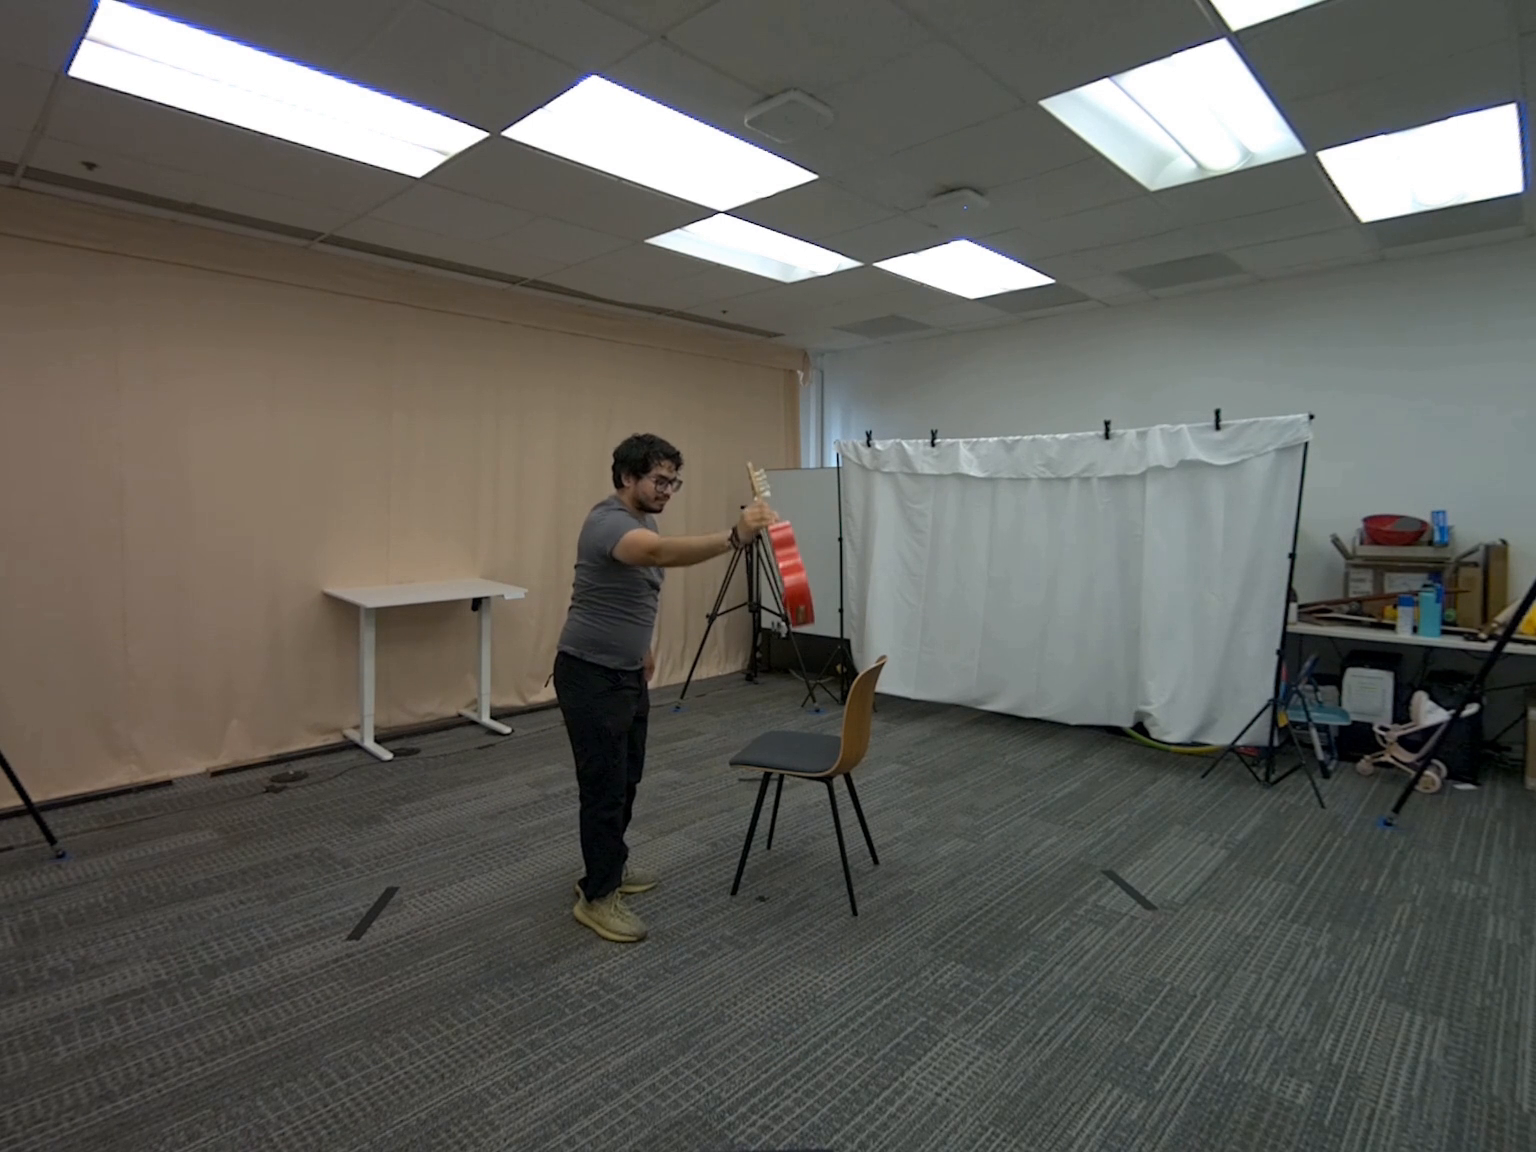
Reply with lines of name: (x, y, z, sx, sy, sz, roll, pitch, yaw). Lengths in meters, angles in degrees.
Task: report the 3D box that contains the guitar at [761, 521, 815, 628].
guitar: (0.027, -0.120, 2.202, 0.071, 0.506, 0.190, -13, -19, -1)
